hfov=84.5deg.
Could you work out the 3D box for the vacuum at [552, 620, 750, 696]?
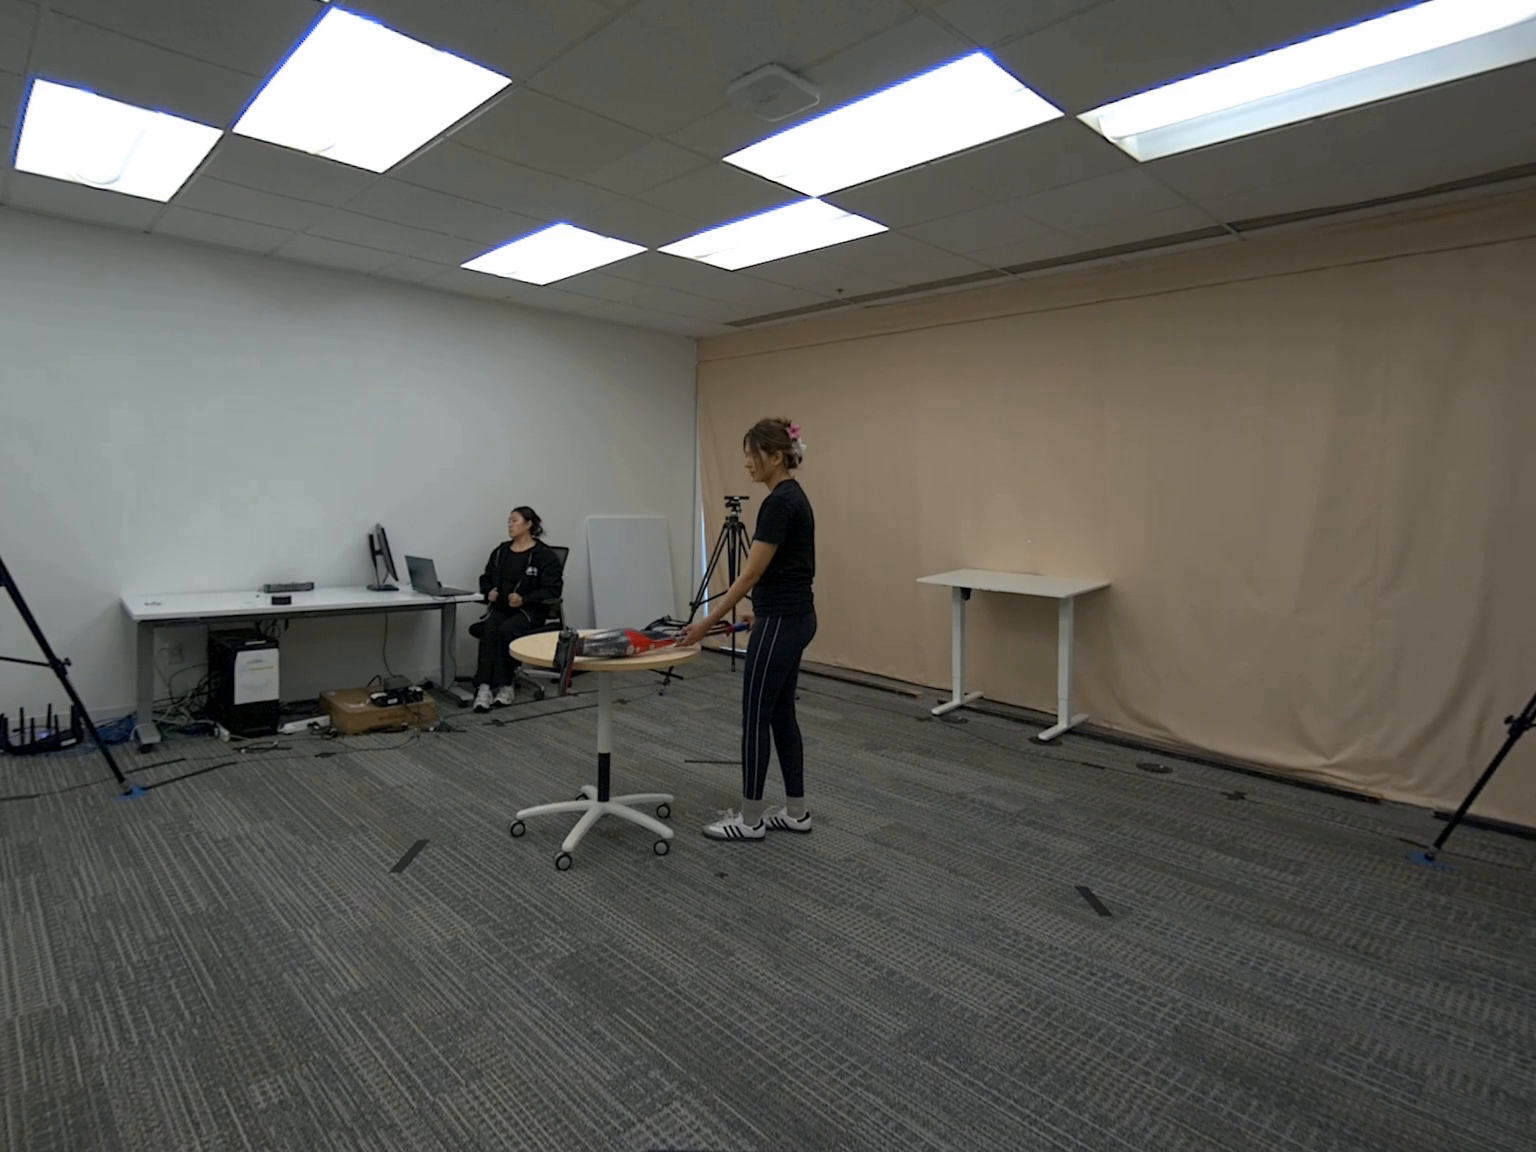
[{"bbox_3d":[-0.414,0.250,3.335,0.148,0.251,1.028,39,27,29],"label":"vacuum"}]
